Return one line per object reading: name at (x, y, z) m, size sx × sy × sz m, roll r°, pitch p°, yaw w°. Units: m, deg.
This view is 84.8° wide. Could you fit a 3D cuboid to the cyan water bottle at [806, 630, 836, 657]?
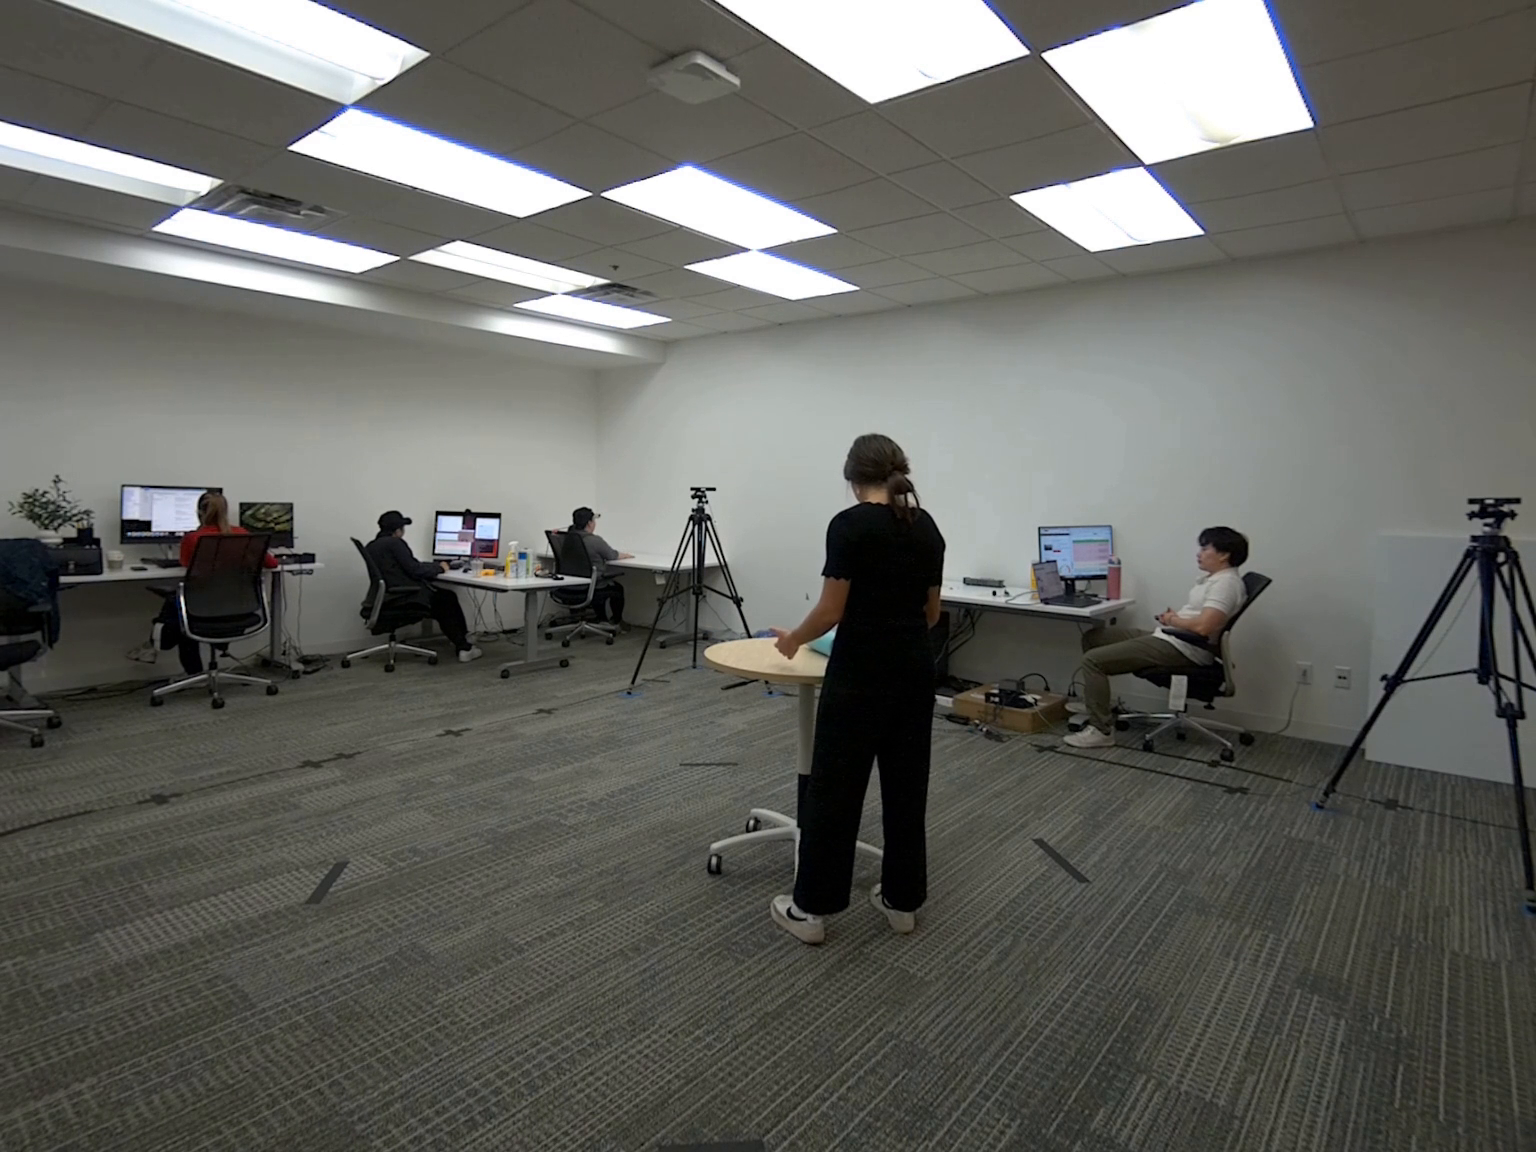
cyan water bottle at (0.207, 0.244, 3.170) m, size 0.090 × 0.092 × 0.289 m, roll 0°, pitch 3°, yaw -20°
